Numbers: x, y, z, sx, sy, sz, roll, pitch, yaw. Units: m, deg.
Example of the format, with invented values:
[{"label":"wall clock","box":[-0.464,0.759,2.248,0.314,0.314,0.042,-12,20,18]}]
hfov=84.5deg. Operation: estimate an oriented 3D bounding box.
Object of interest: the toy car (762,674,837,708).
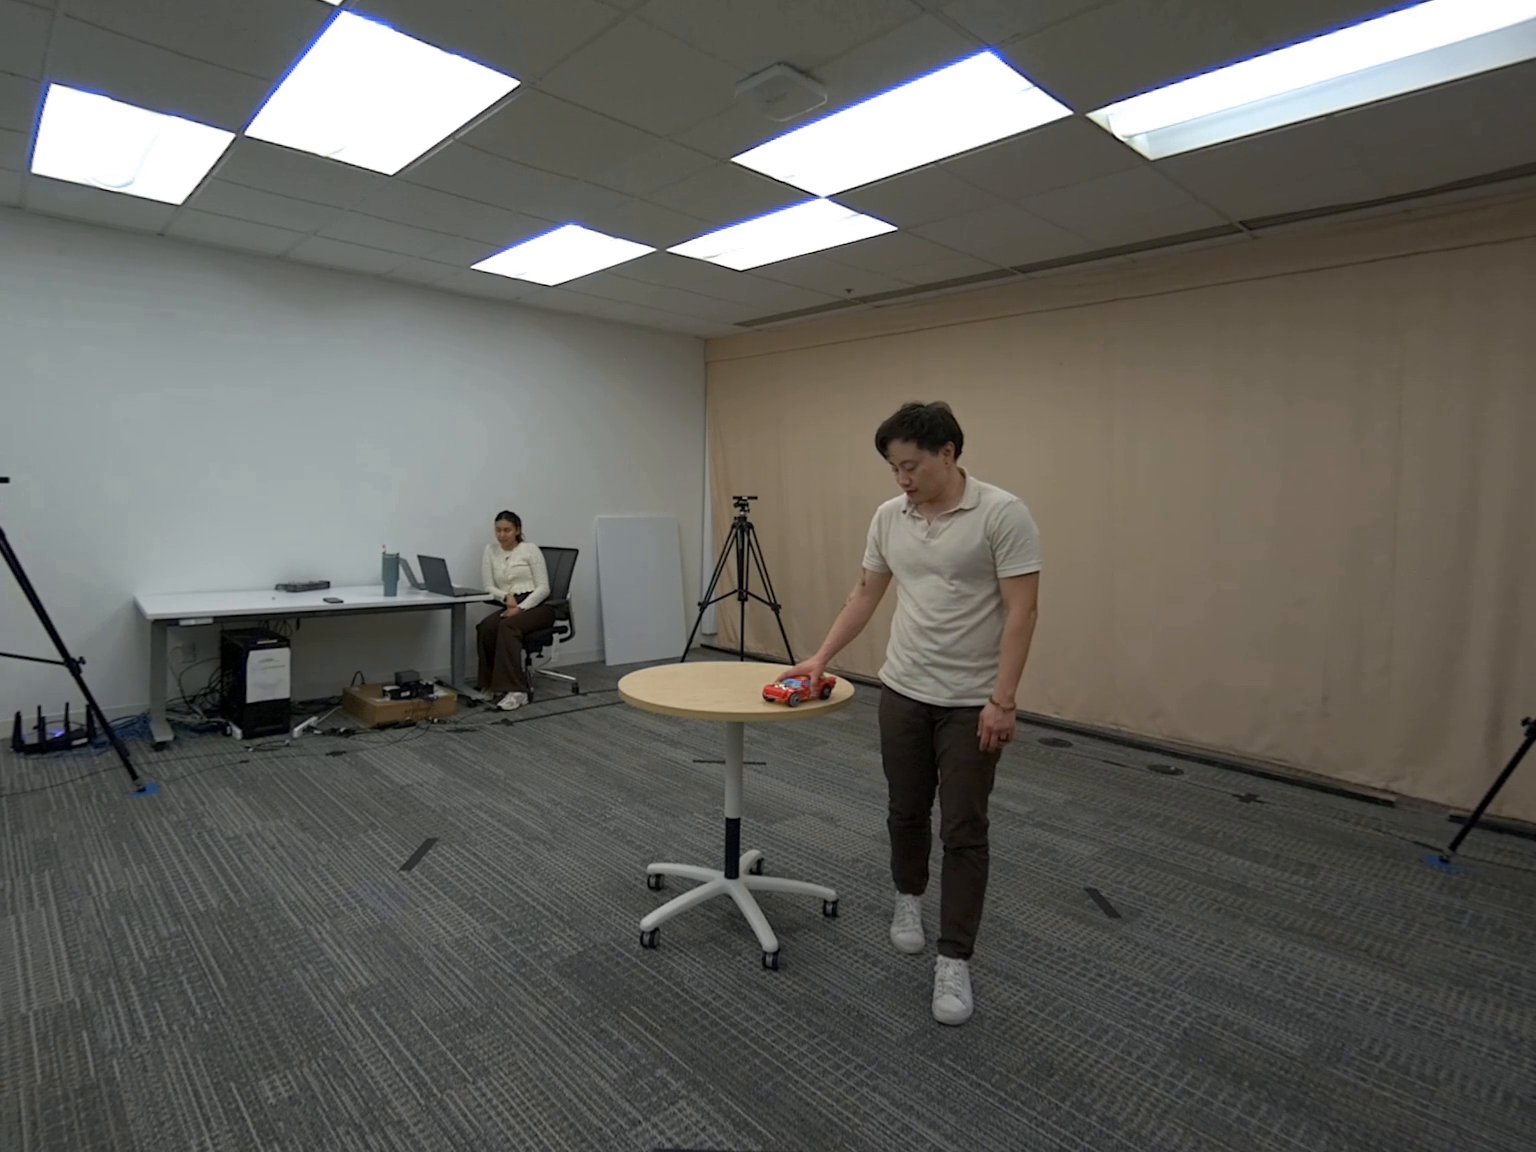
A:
[{"label":"toy car","box":[0.102,0.342,2.541,0.133,0.082,0.250,5,17,44]}]
